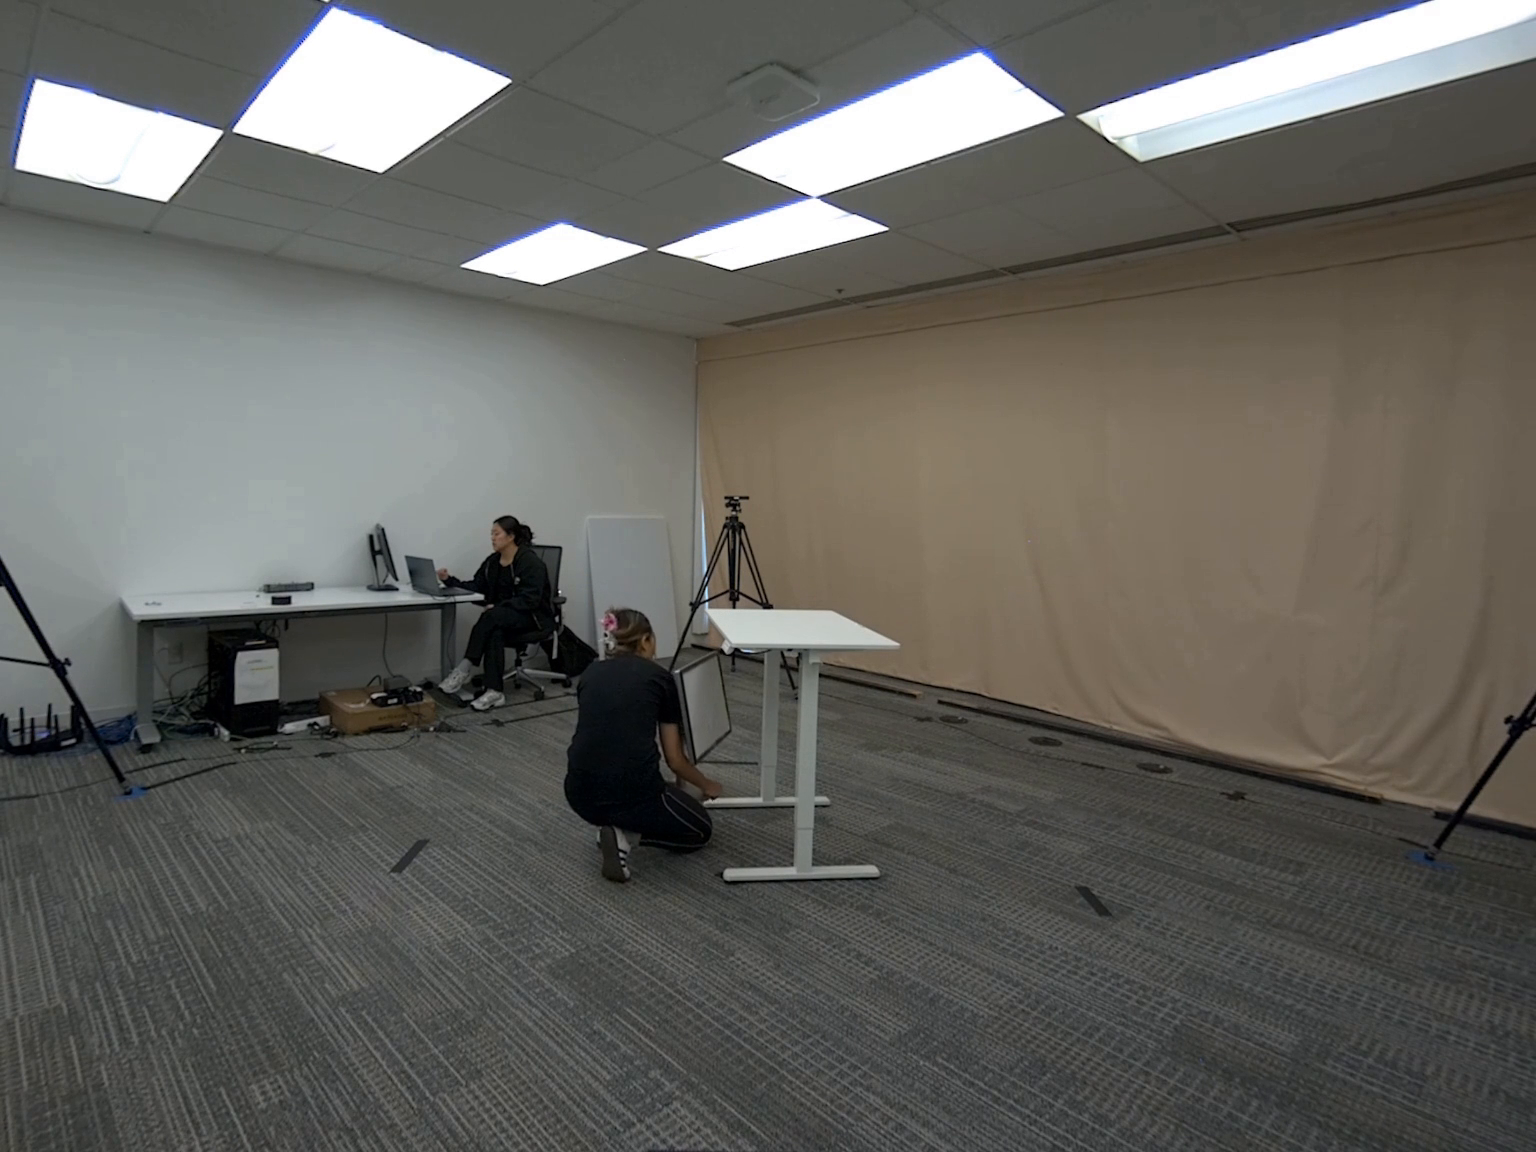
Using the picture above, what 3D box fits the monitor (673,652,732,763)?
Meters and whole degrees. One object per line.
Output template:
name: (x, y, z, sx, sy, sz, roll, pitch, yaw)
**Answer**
monitor: (-0.303, 0.620, 3.481, 0.189, 0.522, 0.534, 3, 3, 12)
